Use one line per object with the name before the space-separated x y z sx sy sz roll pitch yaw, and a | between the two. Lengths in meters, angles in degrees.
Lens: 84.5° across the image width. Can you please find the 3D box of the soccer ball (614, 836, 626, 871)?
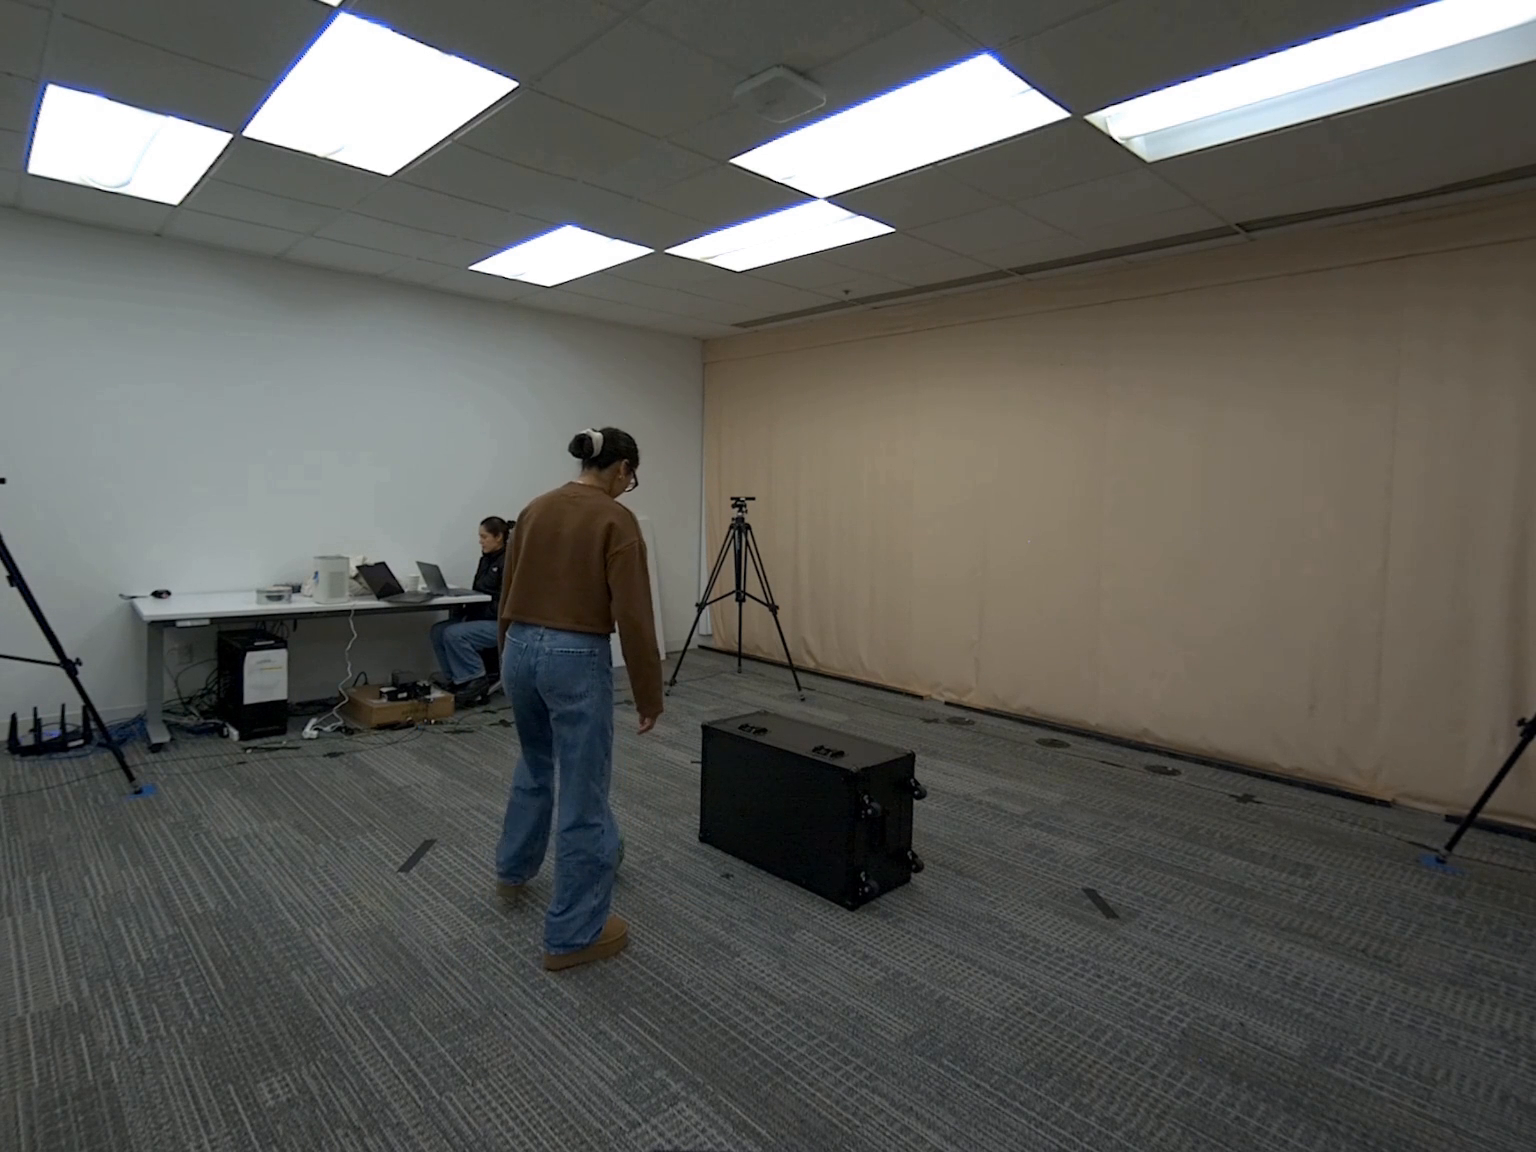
soccer ball | -0.601 1.001 3.079 0.187 0.187 0.188 1 4 -1
